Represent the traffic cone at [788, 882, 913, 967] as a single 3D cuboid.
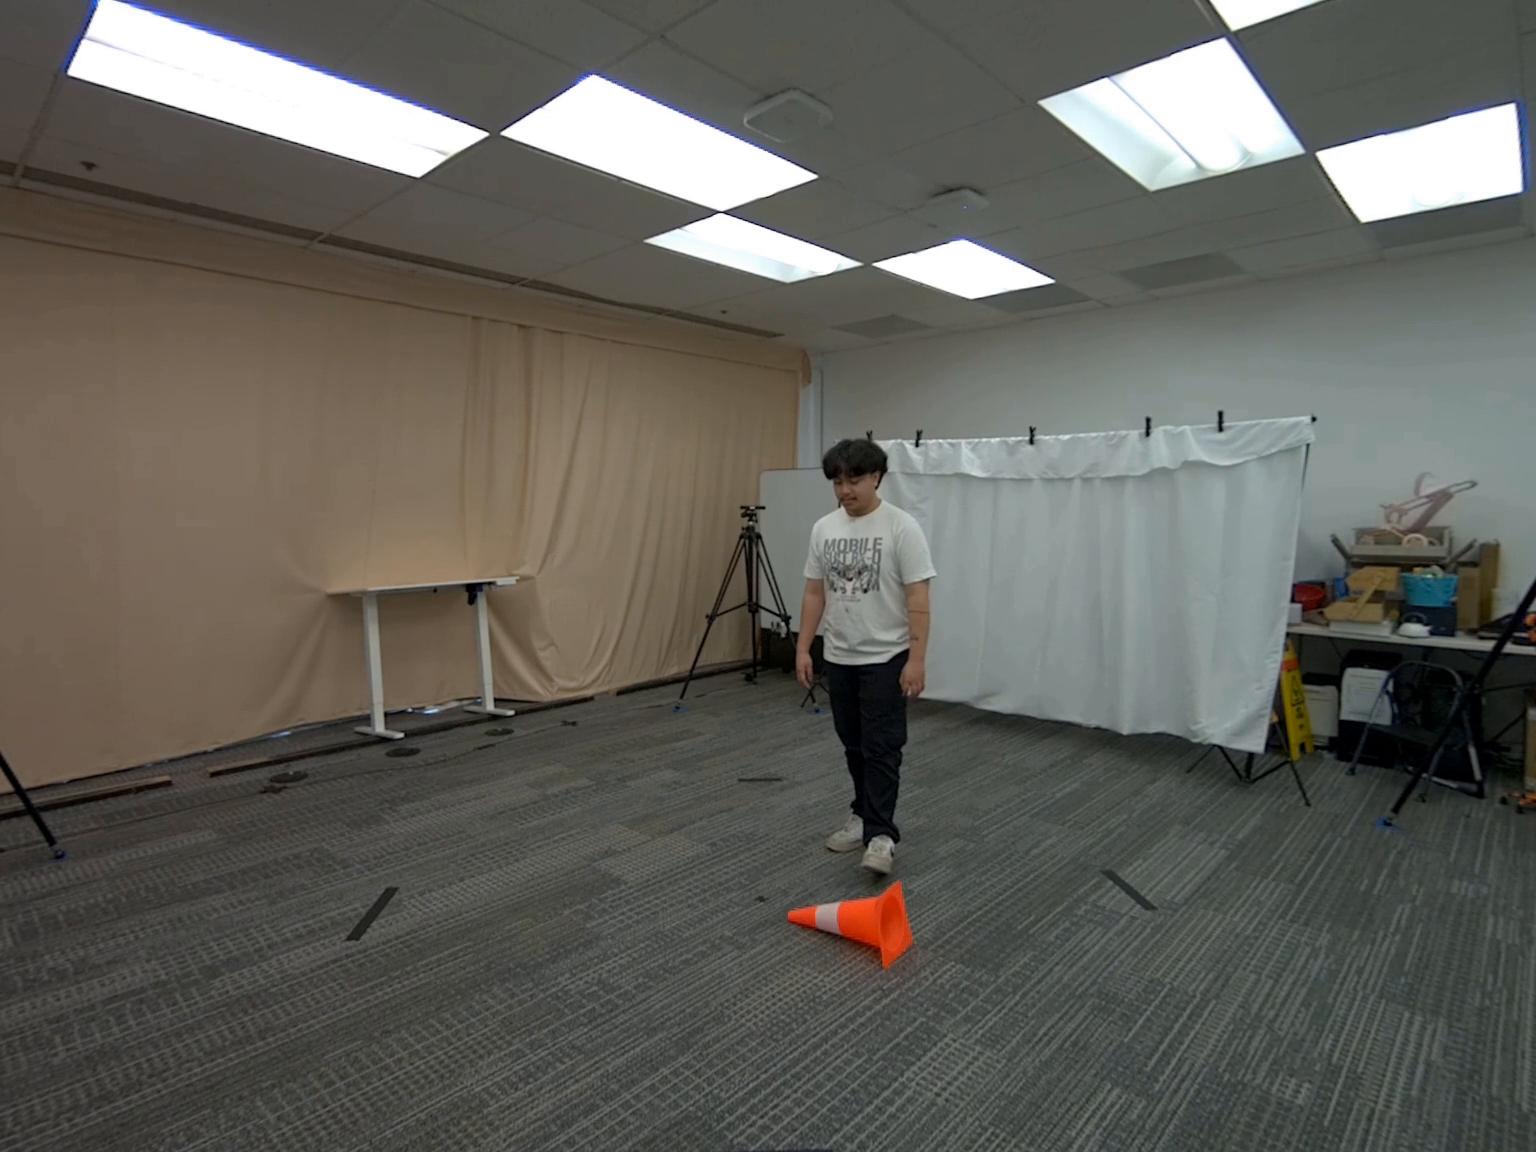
[{"bbox_3d":[0.234,1.114,2.714,0.393,0.204,0.199,-13,-6,34],"label":"traffic cone"}]
